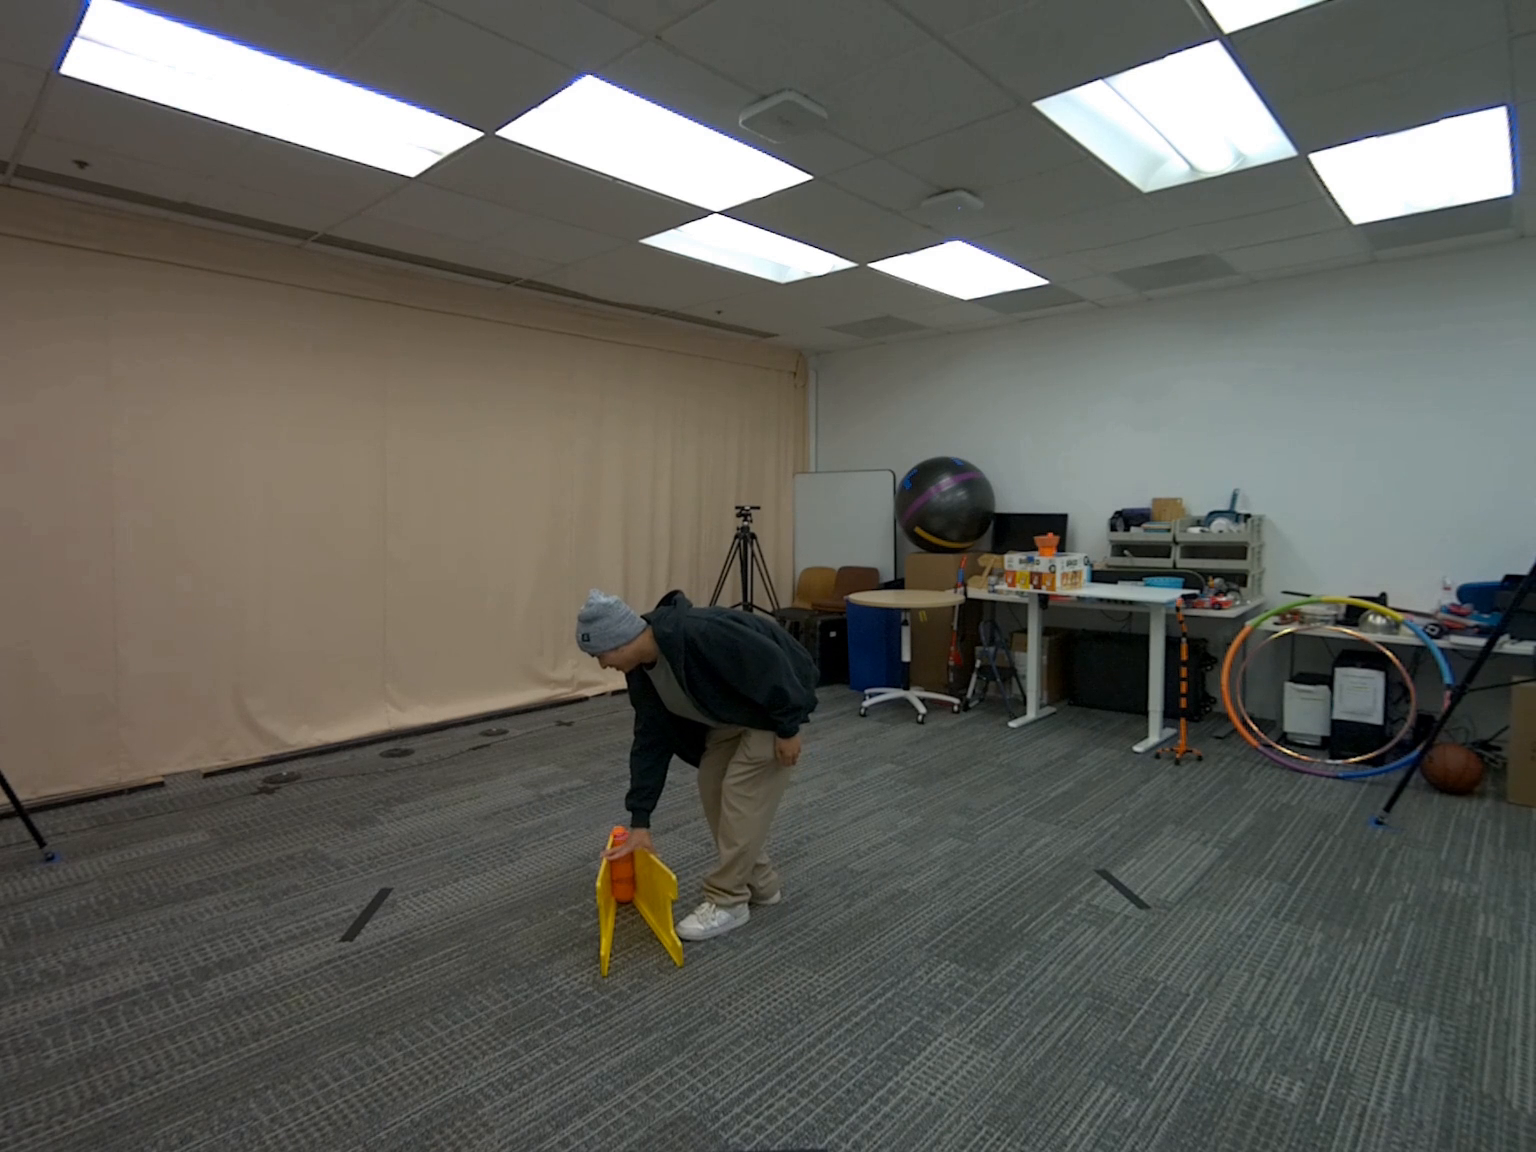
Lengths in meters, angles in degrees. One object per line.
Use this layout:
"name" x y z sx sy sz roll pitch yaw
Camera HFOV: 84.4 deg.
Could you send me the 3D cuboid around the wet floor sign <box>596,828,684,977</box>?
"wet floor sign" -0.479 1.038 2.820 0.285 0.282 0.656 -2 2 -15
